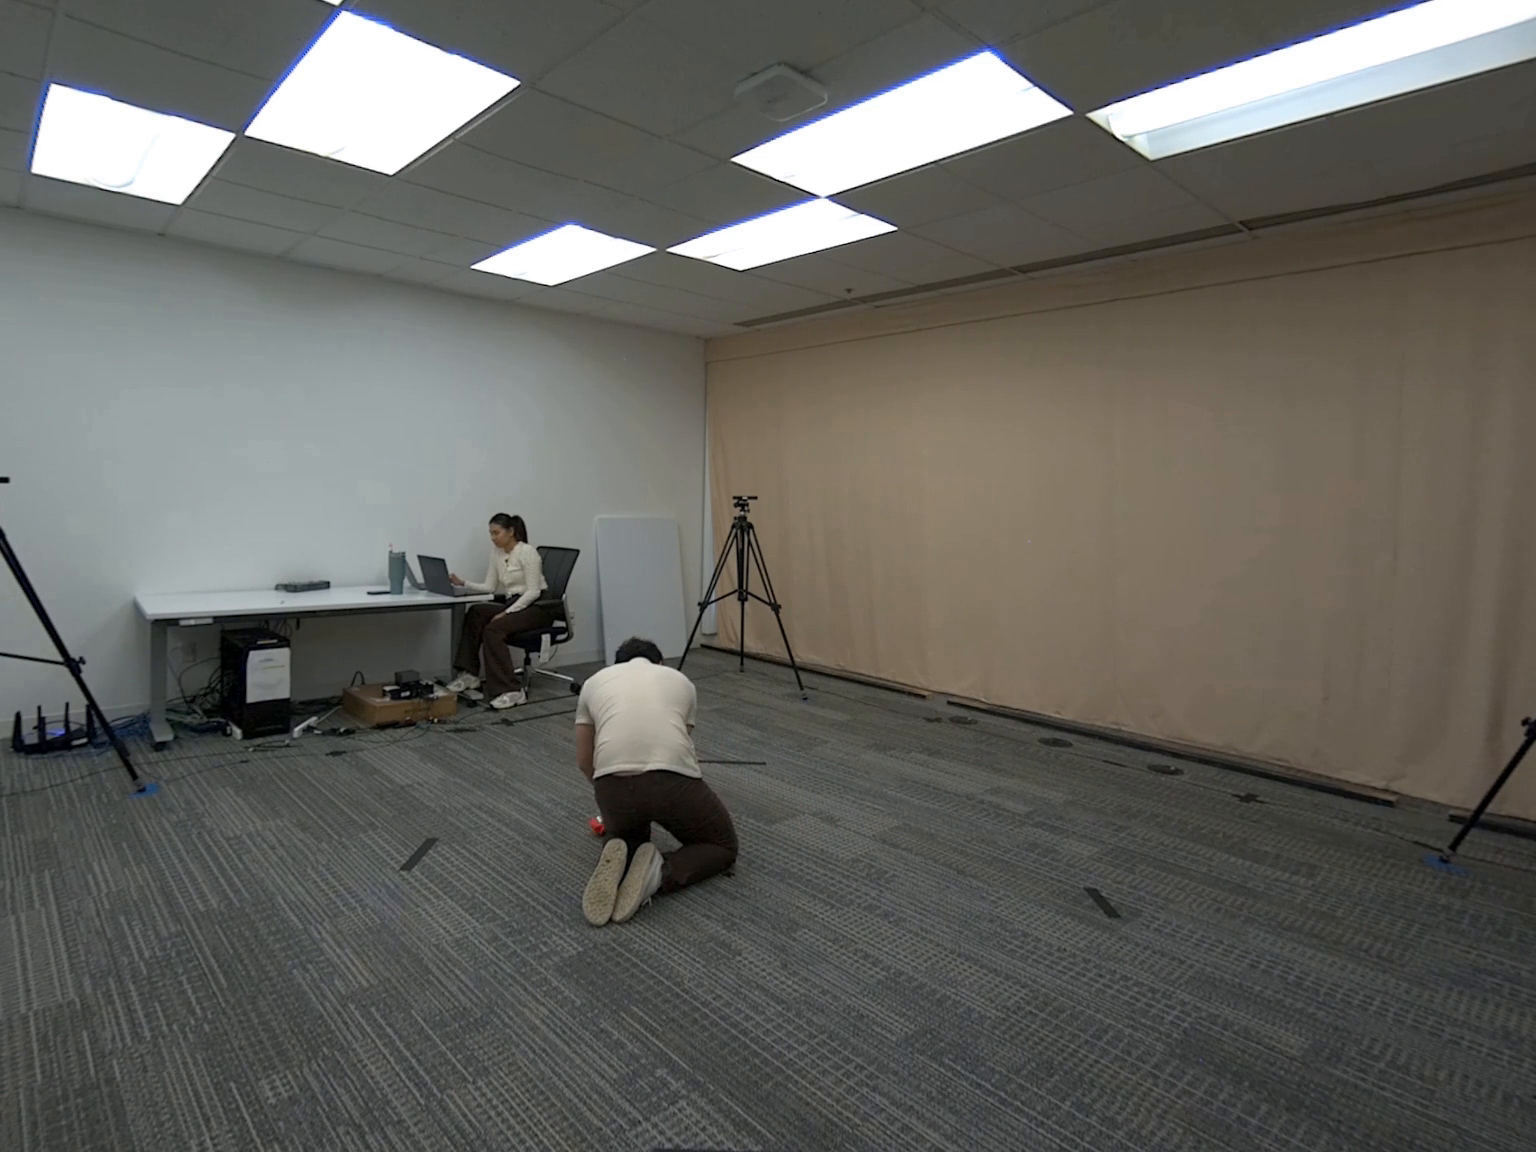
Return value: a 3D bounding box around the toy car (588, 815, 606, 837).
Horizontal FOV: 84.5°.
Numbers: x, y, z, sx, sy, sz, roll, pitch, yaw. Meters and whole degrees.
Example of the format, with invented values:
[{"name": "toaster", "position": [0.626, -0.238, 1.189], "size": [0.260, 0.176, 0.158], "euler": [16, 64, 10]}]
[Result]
[{"name": "toy car", "position": [-0.623, 1.030, 3.477], "size": [0.250, 0.083, 0.133], "euler": [11, 0, -22]}]
